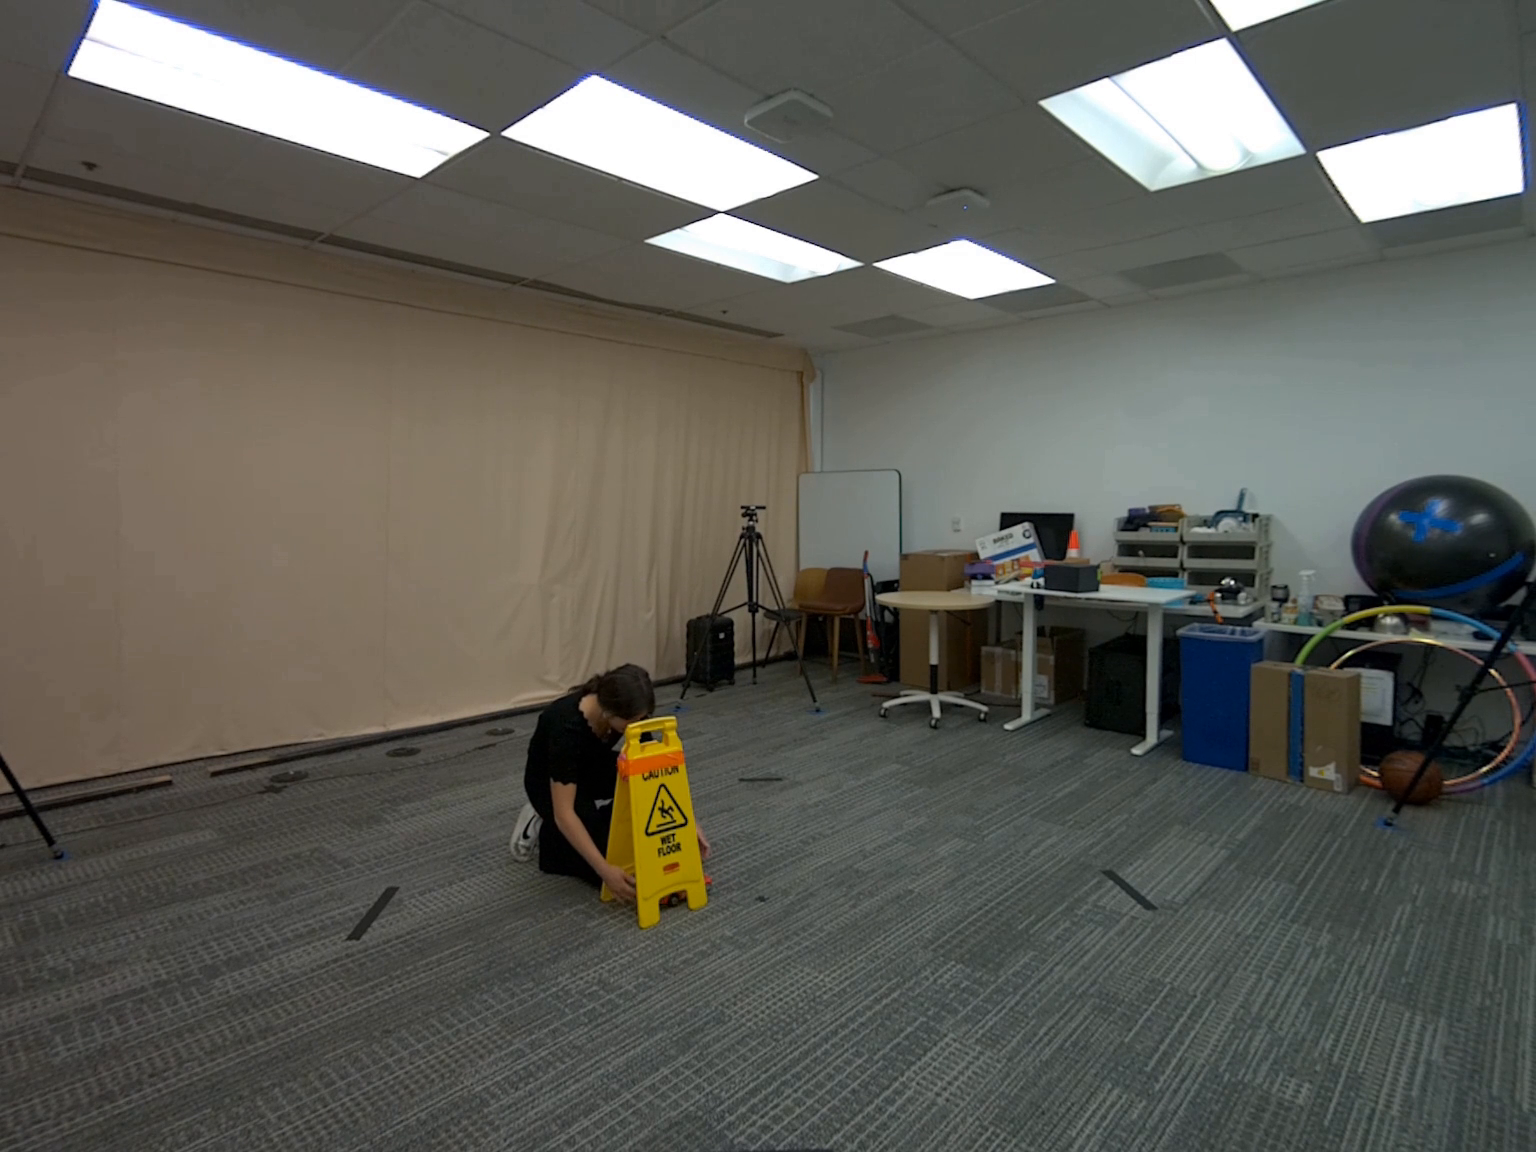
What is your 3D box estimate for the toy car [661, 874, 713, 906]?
[{"bbox_3d":[-0.352,1.115,2.988,0.246,0.083,0.134,8,0,-36],"label":"toy car"}]
